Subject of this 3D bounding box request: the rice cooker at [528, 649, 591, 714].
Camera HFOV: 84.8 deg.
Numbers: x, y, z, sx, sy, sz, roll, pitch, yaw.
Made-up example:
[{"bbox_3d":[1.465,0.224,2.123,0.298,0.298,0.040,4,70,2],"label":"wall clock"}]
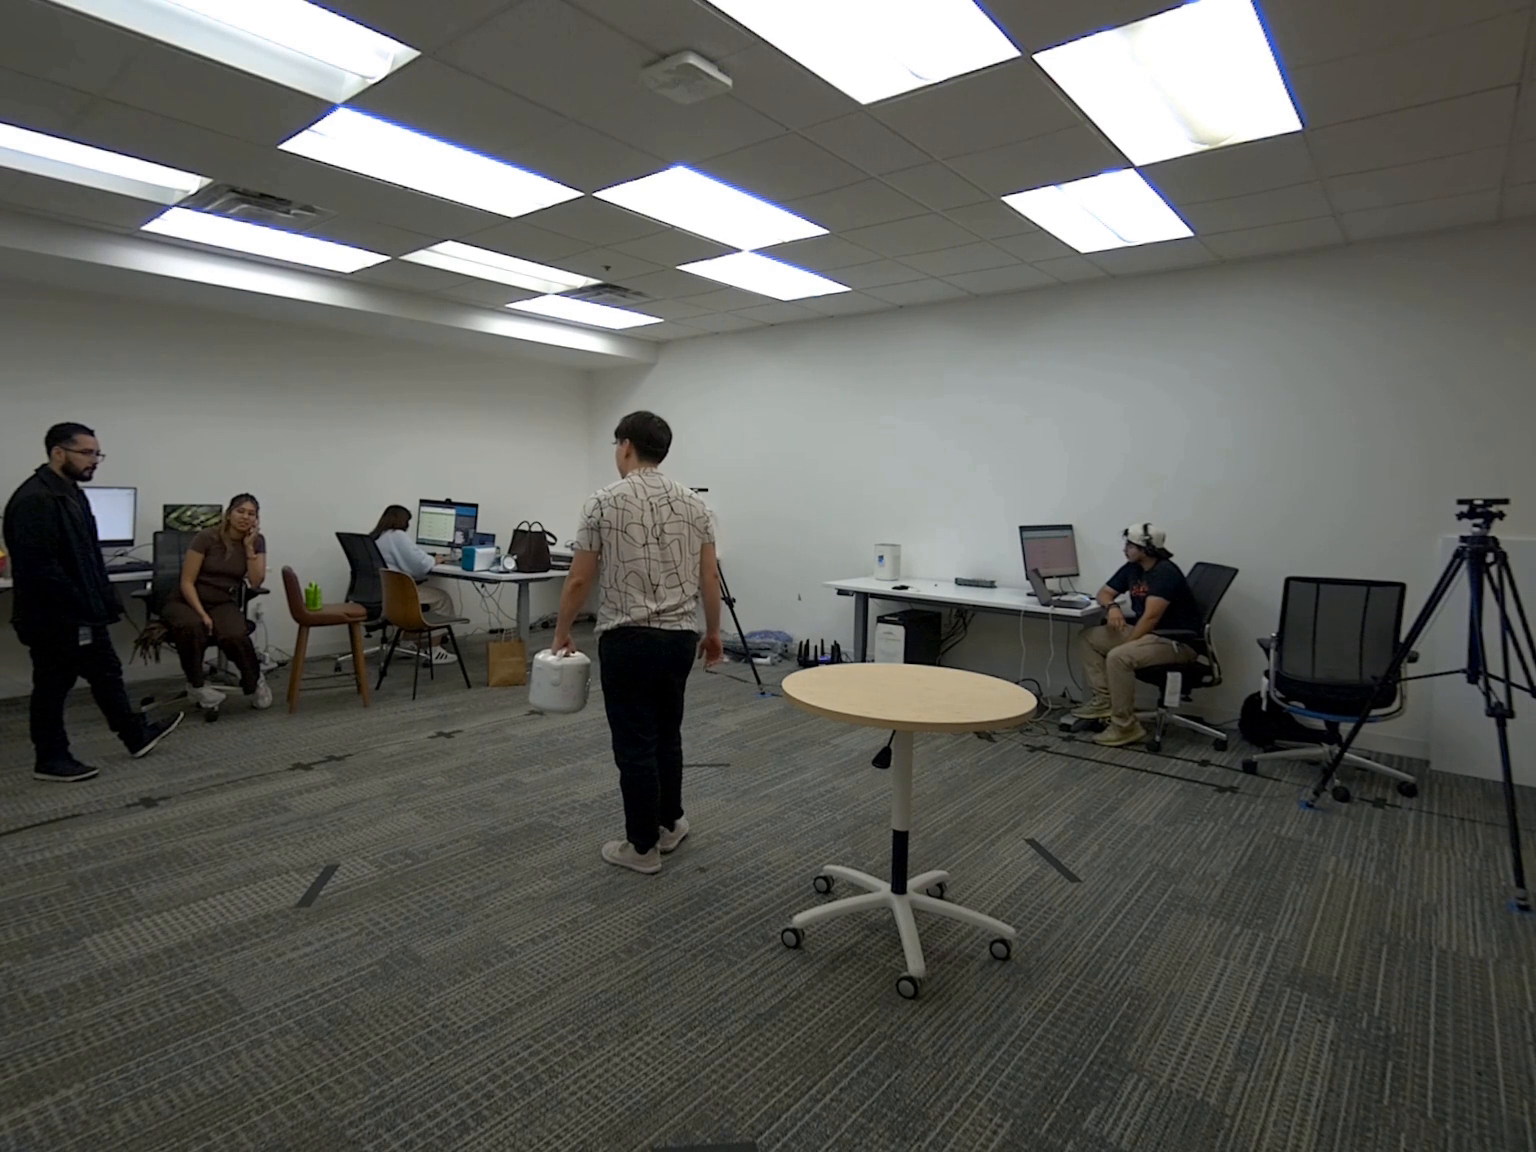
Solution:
[{"bbox_3d":[-0.773,0.373,3.147,0.218,0.232,0.221,7,3,0],"label":"rice cooker"}]
